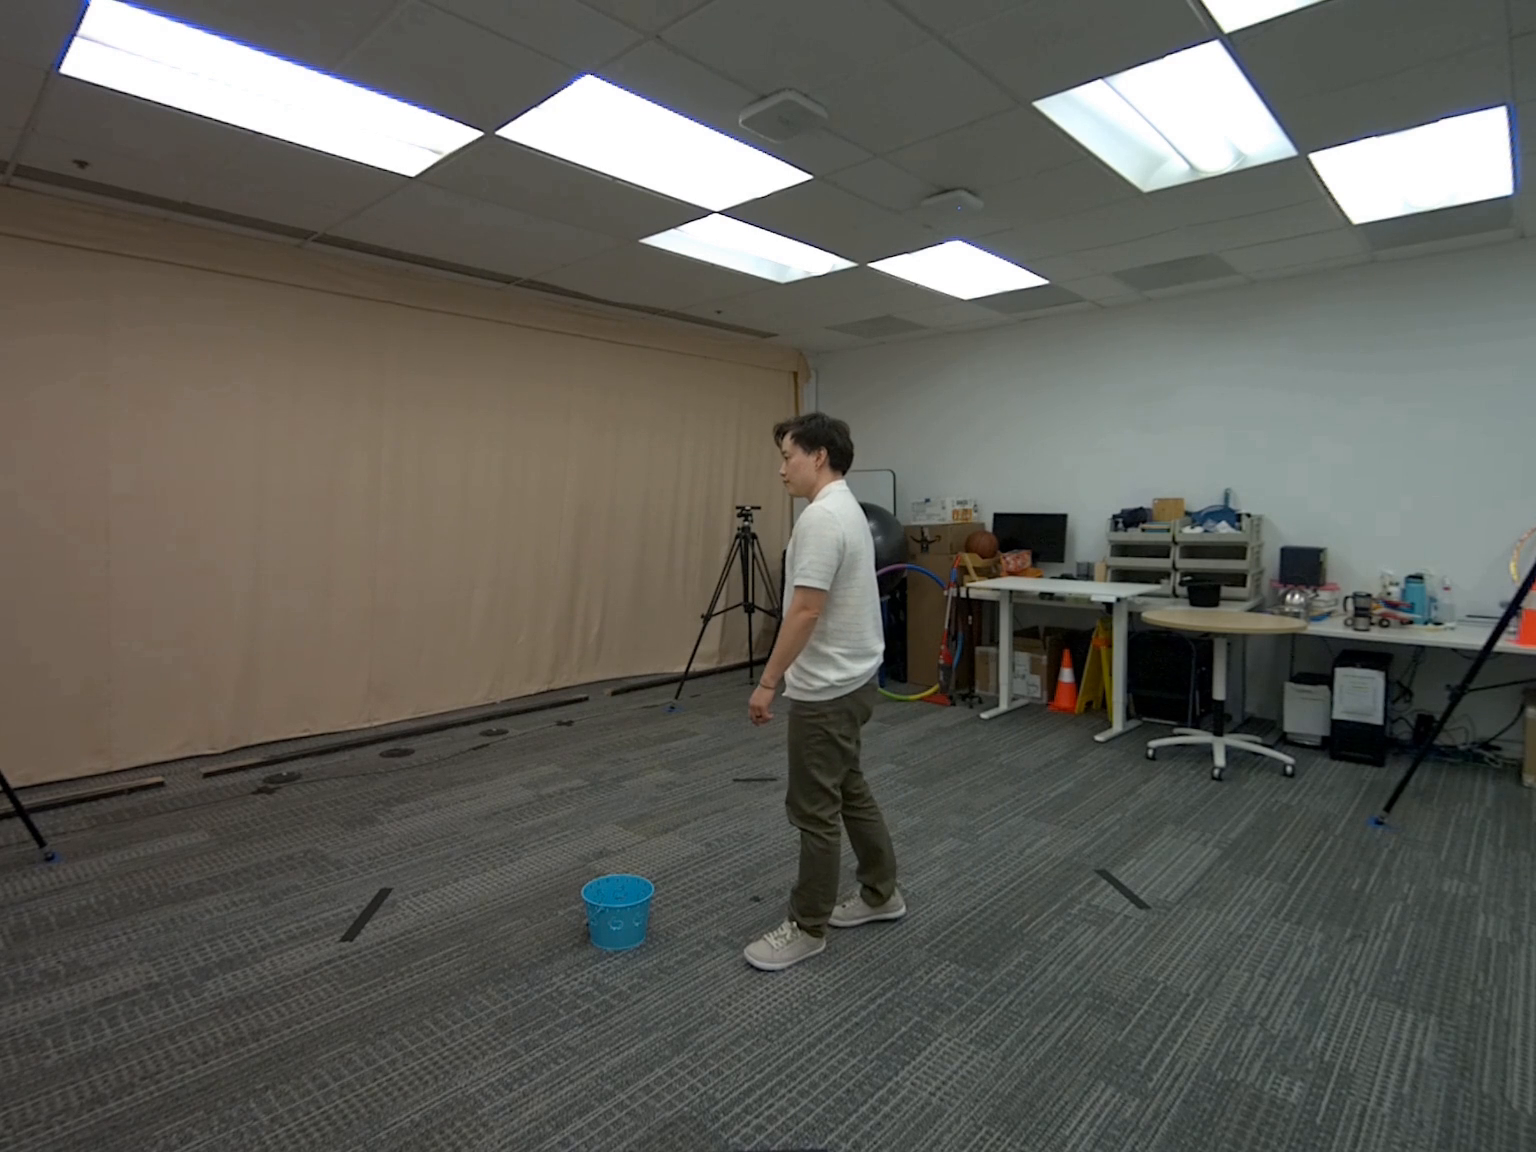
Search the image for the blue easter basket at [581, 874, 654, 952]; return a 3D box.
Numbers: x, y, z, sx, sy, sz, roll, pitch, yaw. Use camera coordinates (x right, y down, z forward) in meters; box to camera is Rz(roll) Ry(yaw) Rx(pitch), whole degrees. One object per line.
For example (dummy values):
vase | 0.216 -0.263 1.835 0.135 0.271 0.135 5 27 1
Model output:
blue easter basket | -0.486 1.092 2.736 0.243 0.155 0.244 0 4 -2
